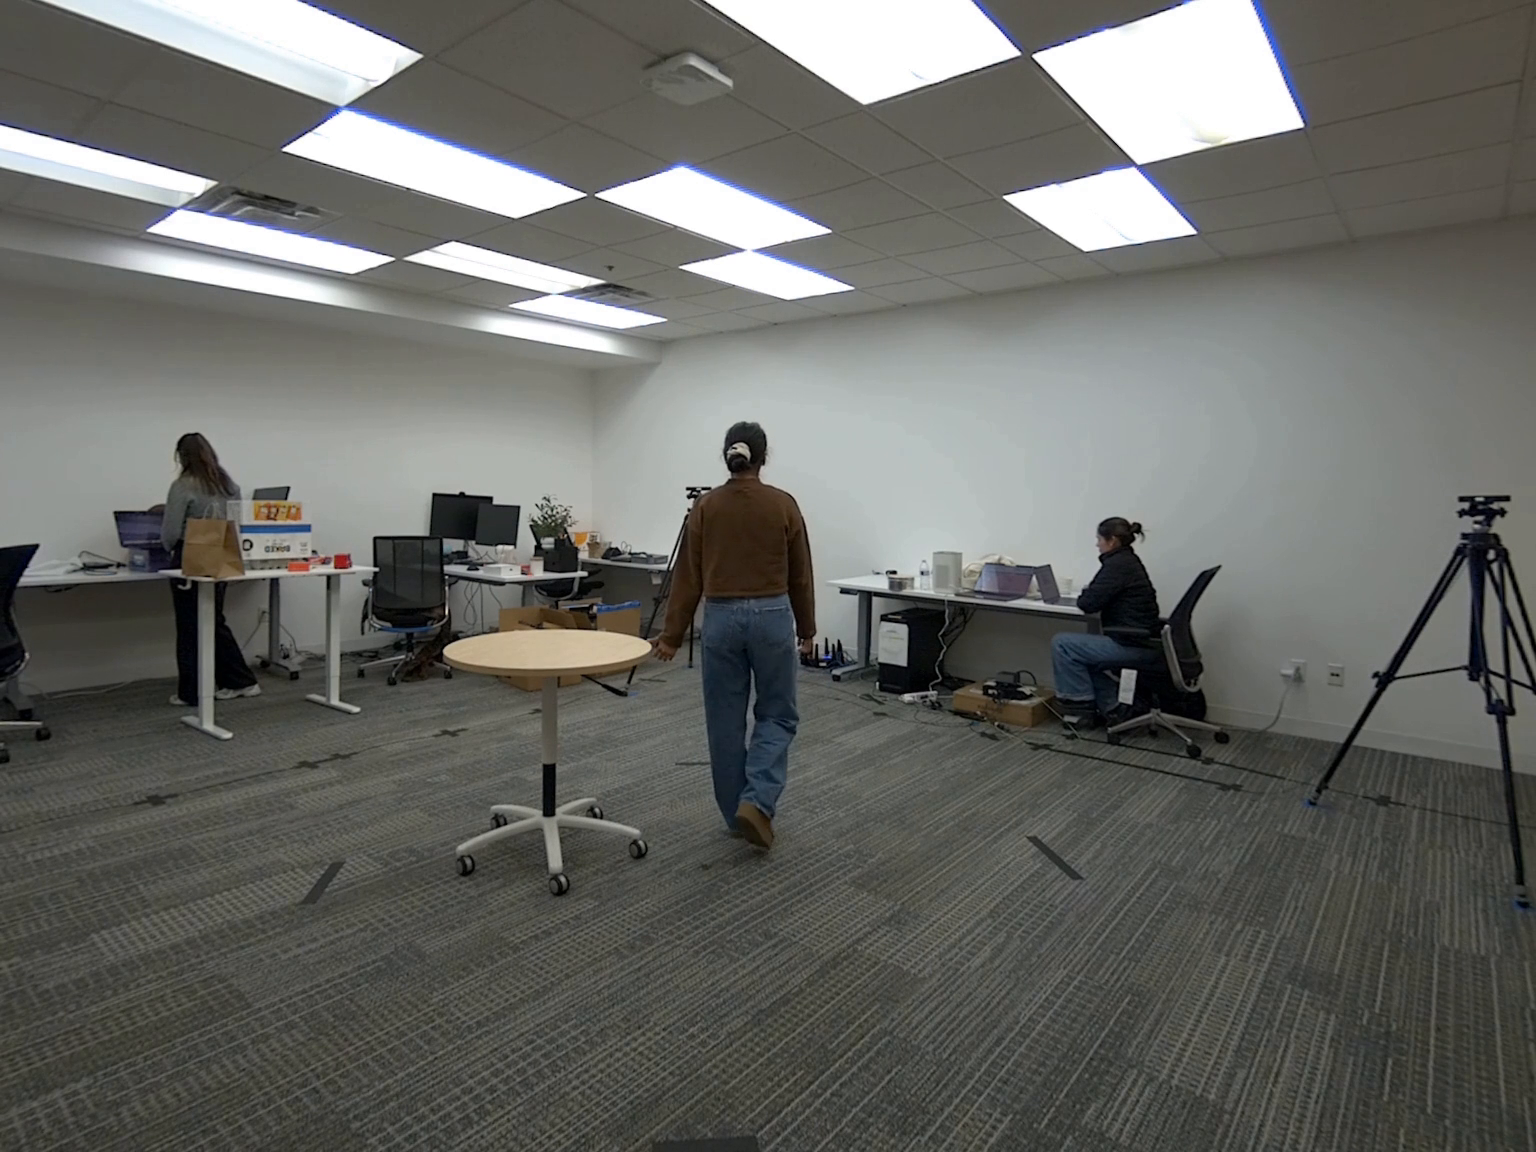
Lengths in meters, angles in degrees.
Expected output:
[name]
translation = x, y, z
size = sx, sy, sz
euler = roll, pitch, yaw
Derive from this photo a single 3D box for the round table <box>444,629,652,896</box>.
[round table]
translation = -0.850, 0.656, 3.207
size = 0.784, 0.784, 0.789
euler = 1, 4, -2
